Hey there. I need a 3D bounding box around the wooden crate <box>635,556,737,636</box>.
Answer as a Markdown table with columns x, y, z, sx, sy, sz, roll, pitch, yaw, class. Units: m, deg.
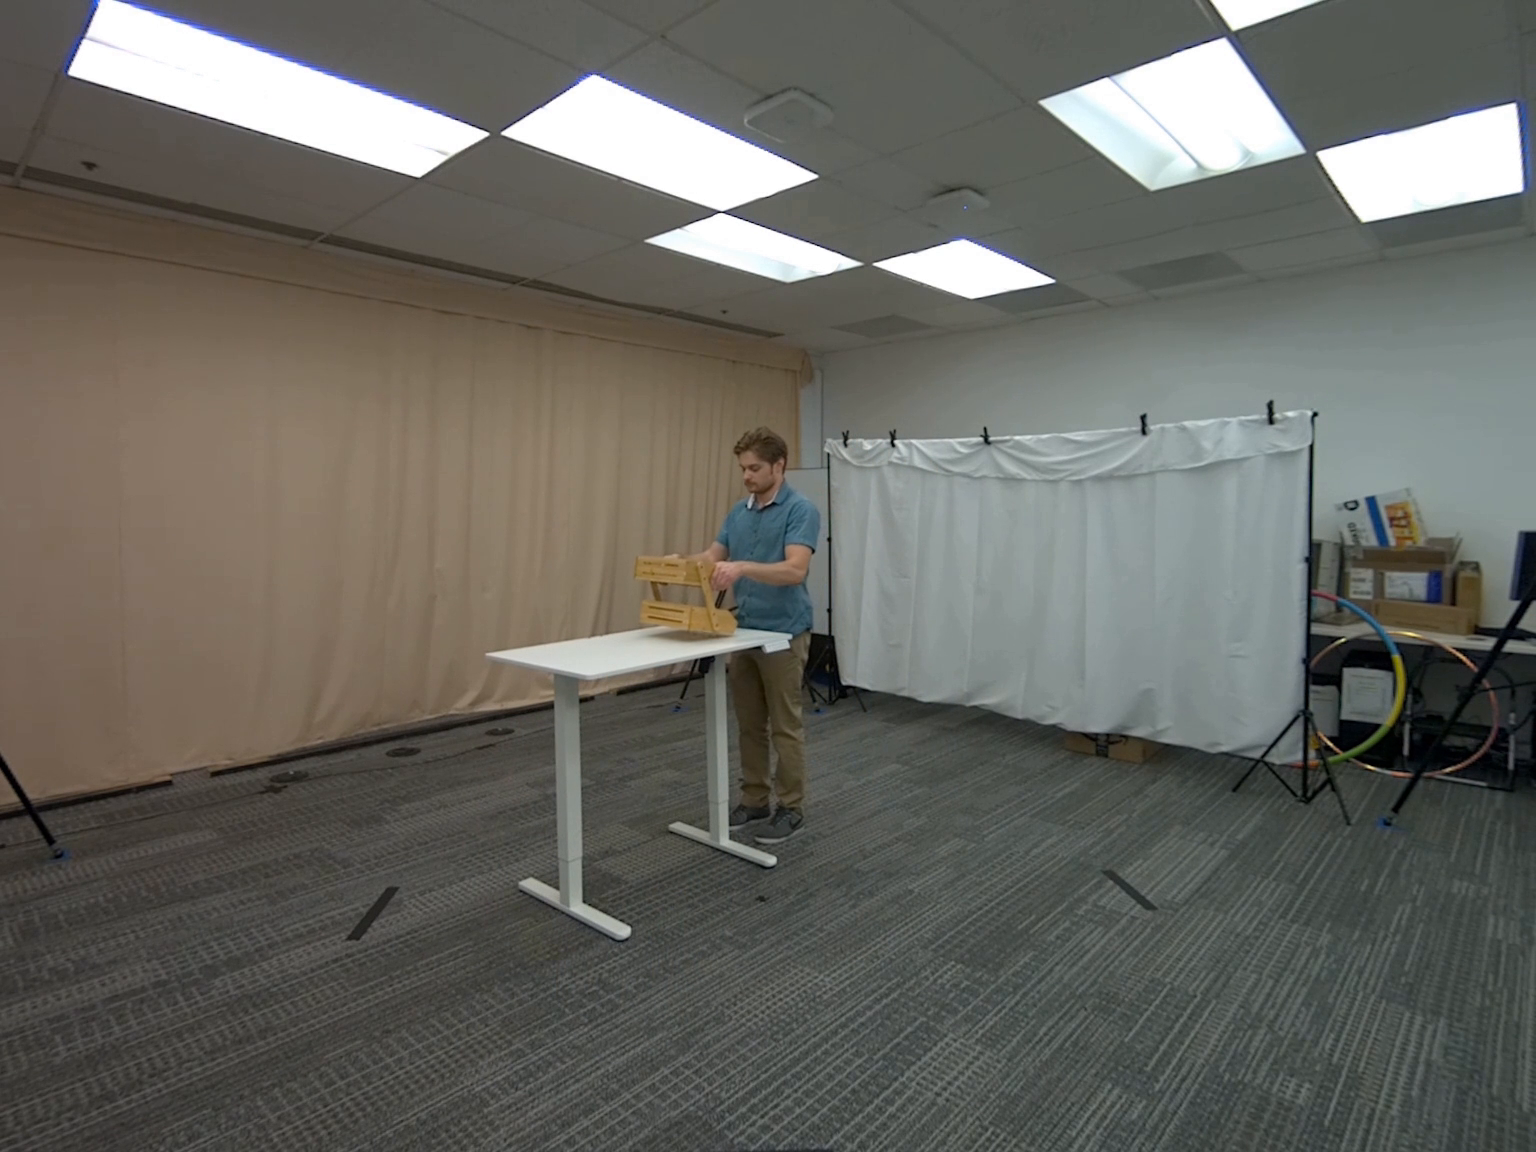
| x | y | z | sx | sy | sz | roll | pitch | yaw | class |
| --- | --- | --- | --- | --- | --- | --- | --- | --- | --- |
| -0.317 | 0.072 | 3.282 | 0.335 | 0.274 | 0.291 | 4 | -4 | 44 | wooden crate |
